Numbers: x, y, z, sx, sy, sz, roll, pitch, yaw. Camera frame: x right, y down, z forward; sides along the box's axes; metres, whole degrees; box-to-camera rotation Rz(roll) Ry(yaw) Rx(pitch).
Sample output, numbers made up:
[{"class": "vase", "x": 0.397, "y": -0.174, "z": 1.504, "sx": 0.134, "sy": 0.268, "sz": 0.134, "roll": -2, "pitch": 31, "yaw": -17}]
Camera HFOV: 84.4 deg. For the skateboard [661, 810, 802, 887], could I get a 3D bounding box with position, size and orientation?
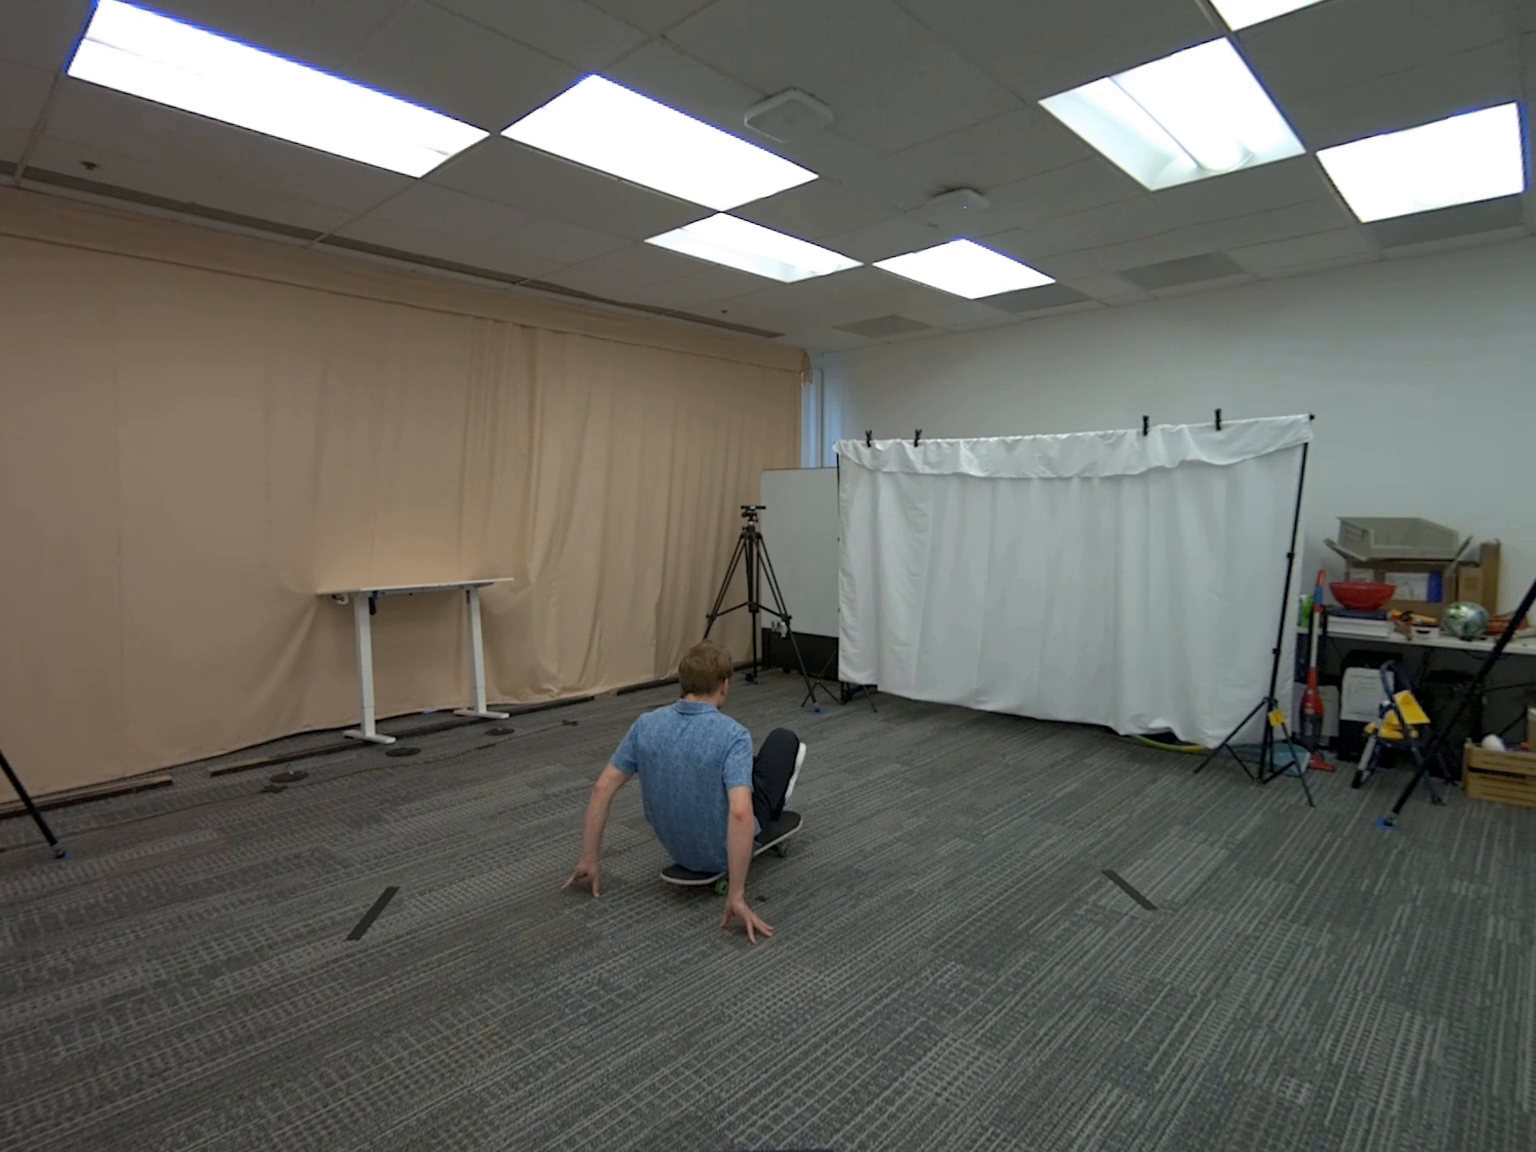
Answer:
[{"class": "skateboard", "x": -0.126, "y": 1.070, "z": 3.247, "sx": 0.199, "sy": 0.110, "sz": 0.764, "roll": -1, "pitch": 5, "yaw": 32}]
